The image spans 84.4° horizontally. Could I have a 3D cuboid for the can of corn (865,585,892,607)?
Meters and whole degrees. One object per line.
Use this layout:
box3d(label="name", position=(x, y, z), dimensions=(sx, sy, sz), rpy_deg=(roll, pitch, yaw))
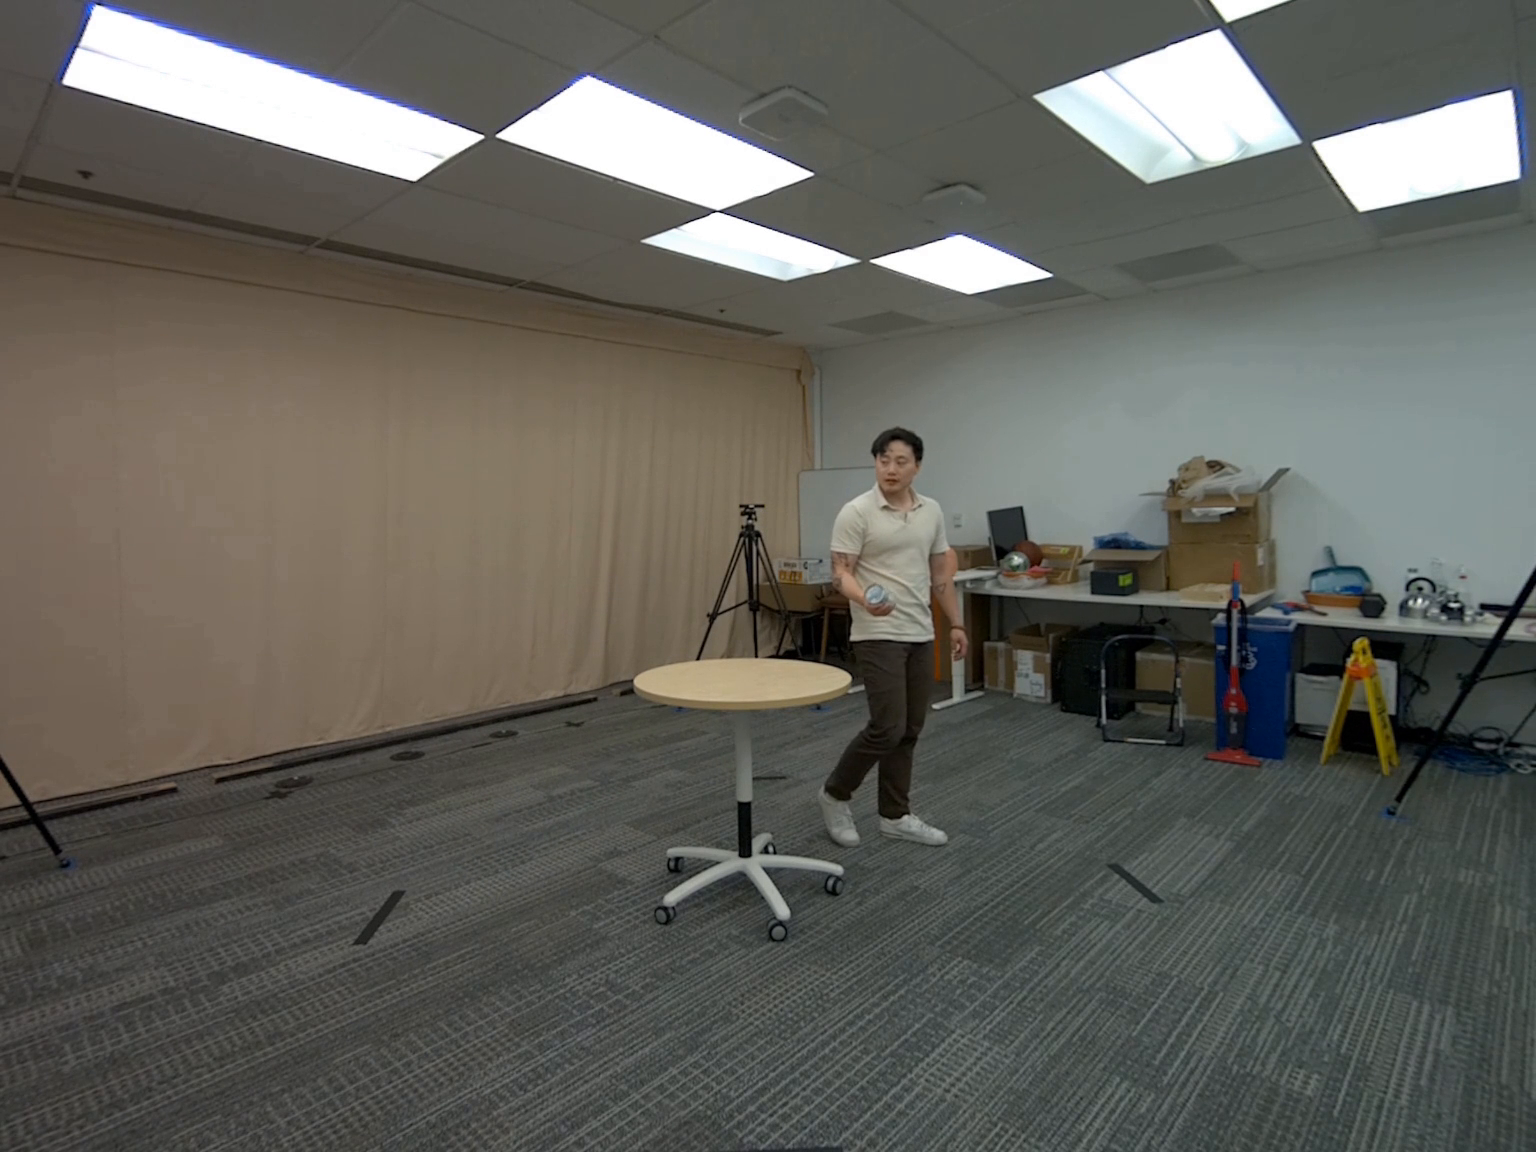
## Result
box3d(label="can of corn", position=(0.398, 0.072, 3.072), dimensions=(0.075, 0.075, 0.108), rpy_deg=(0, -13, 15))
